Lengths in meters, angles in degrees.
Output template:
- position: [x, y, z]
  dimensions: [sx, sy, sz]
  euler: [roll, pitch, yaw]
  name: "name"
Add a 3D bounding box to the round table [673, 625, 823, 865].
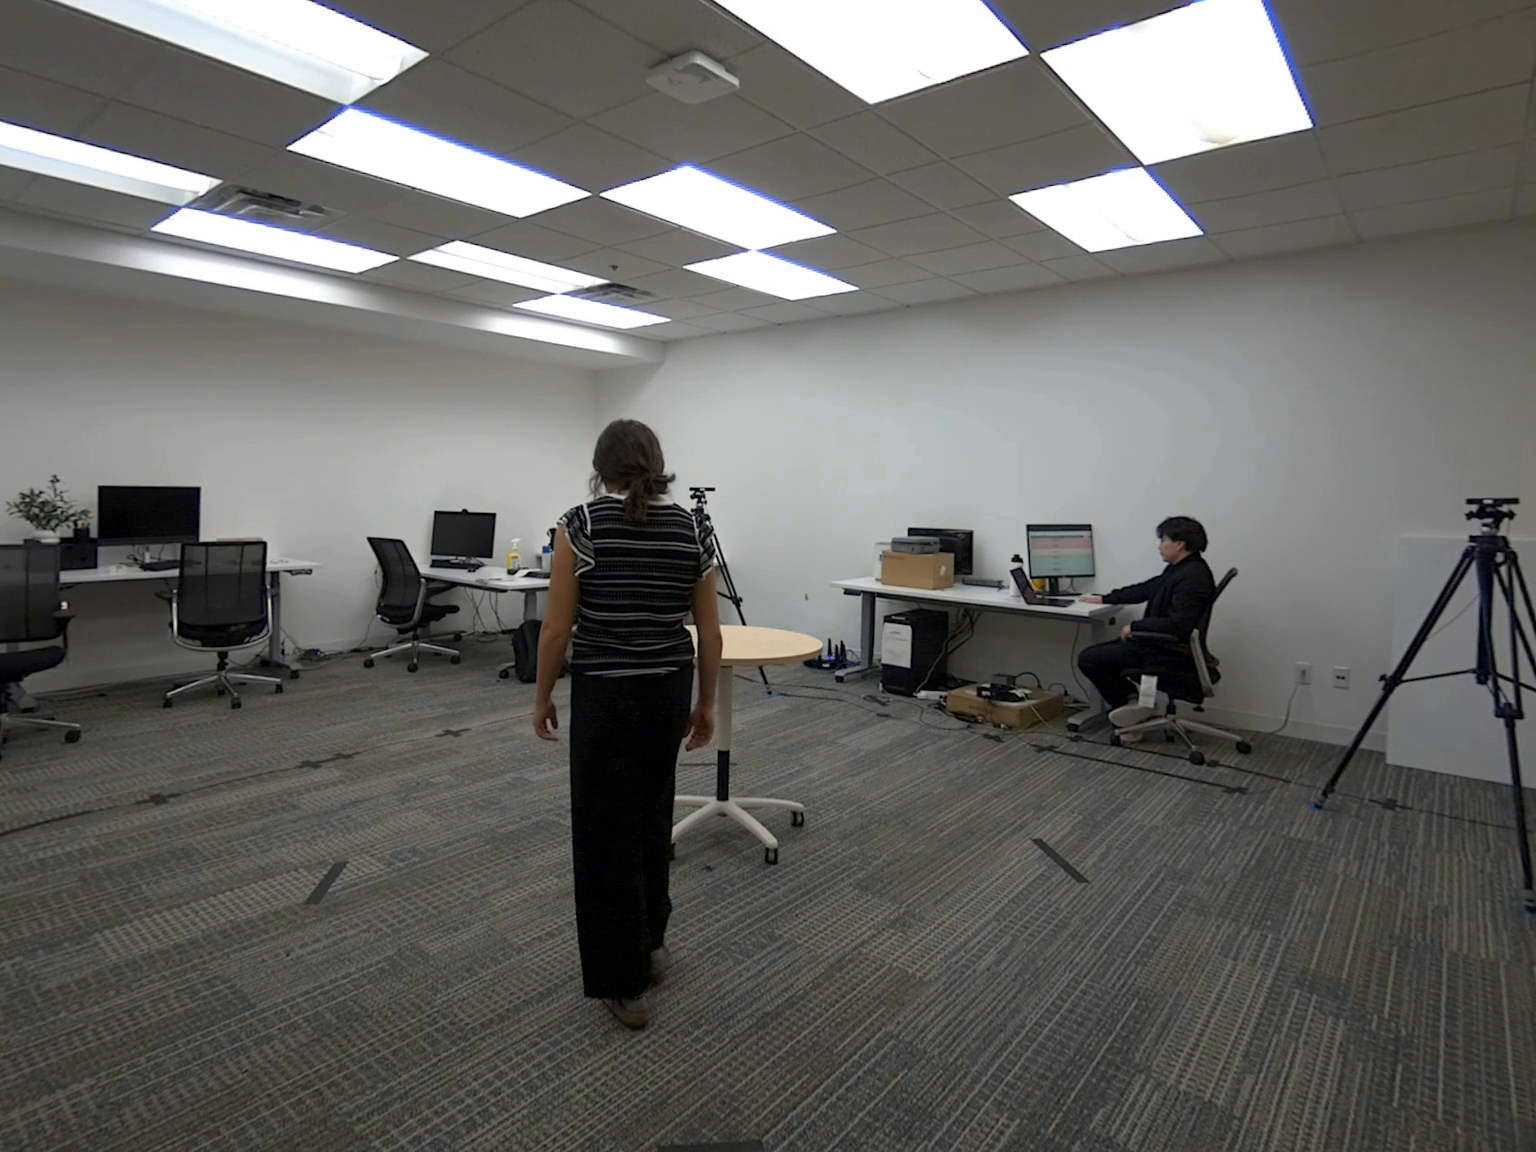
- position: [-0.200, 0.642, 3.406]
  dimensions: [0.784, 0.784, 0.789]
  euler: [1, 4, -2]
  name: "round table"
